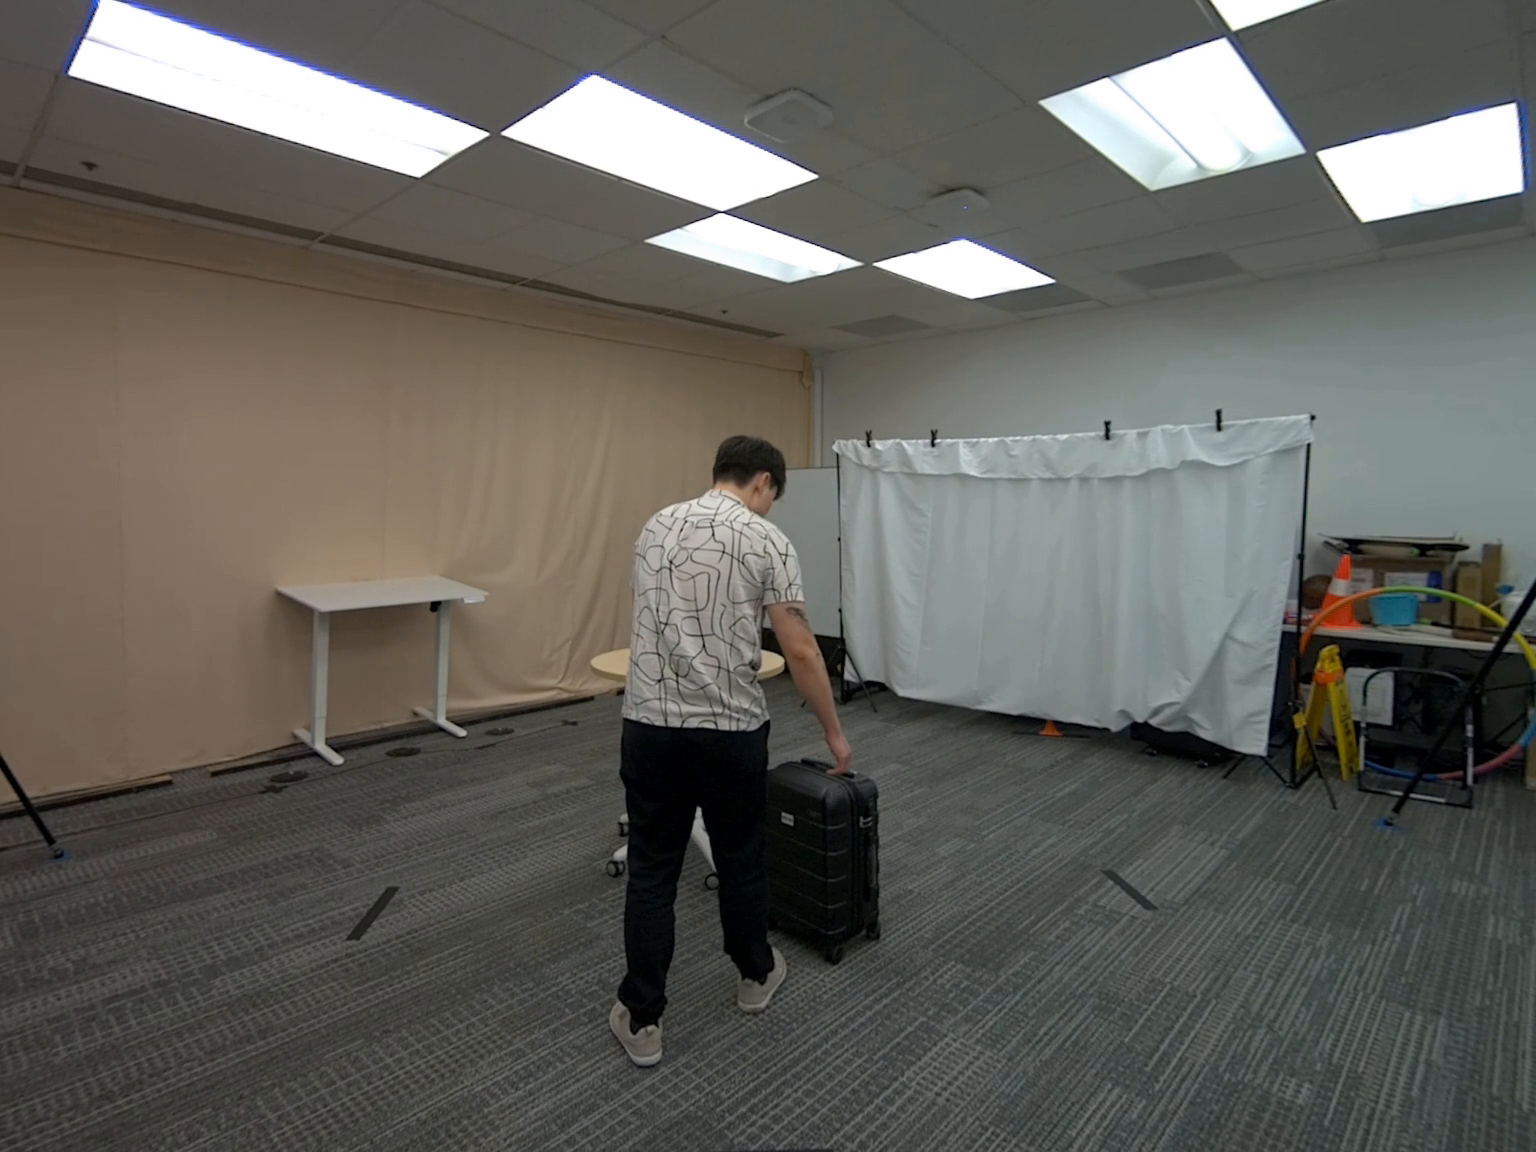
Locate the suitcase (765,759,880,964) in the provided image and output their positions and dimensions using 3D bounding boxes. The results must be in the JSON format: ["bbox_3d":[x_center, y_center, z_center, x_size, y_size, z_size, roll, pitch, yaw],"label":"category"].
[{"bbox_3d":[0.169,0.889,2.717,0.241,0.547,0.388,-5,6,-42],"label":"suitcase"}]
